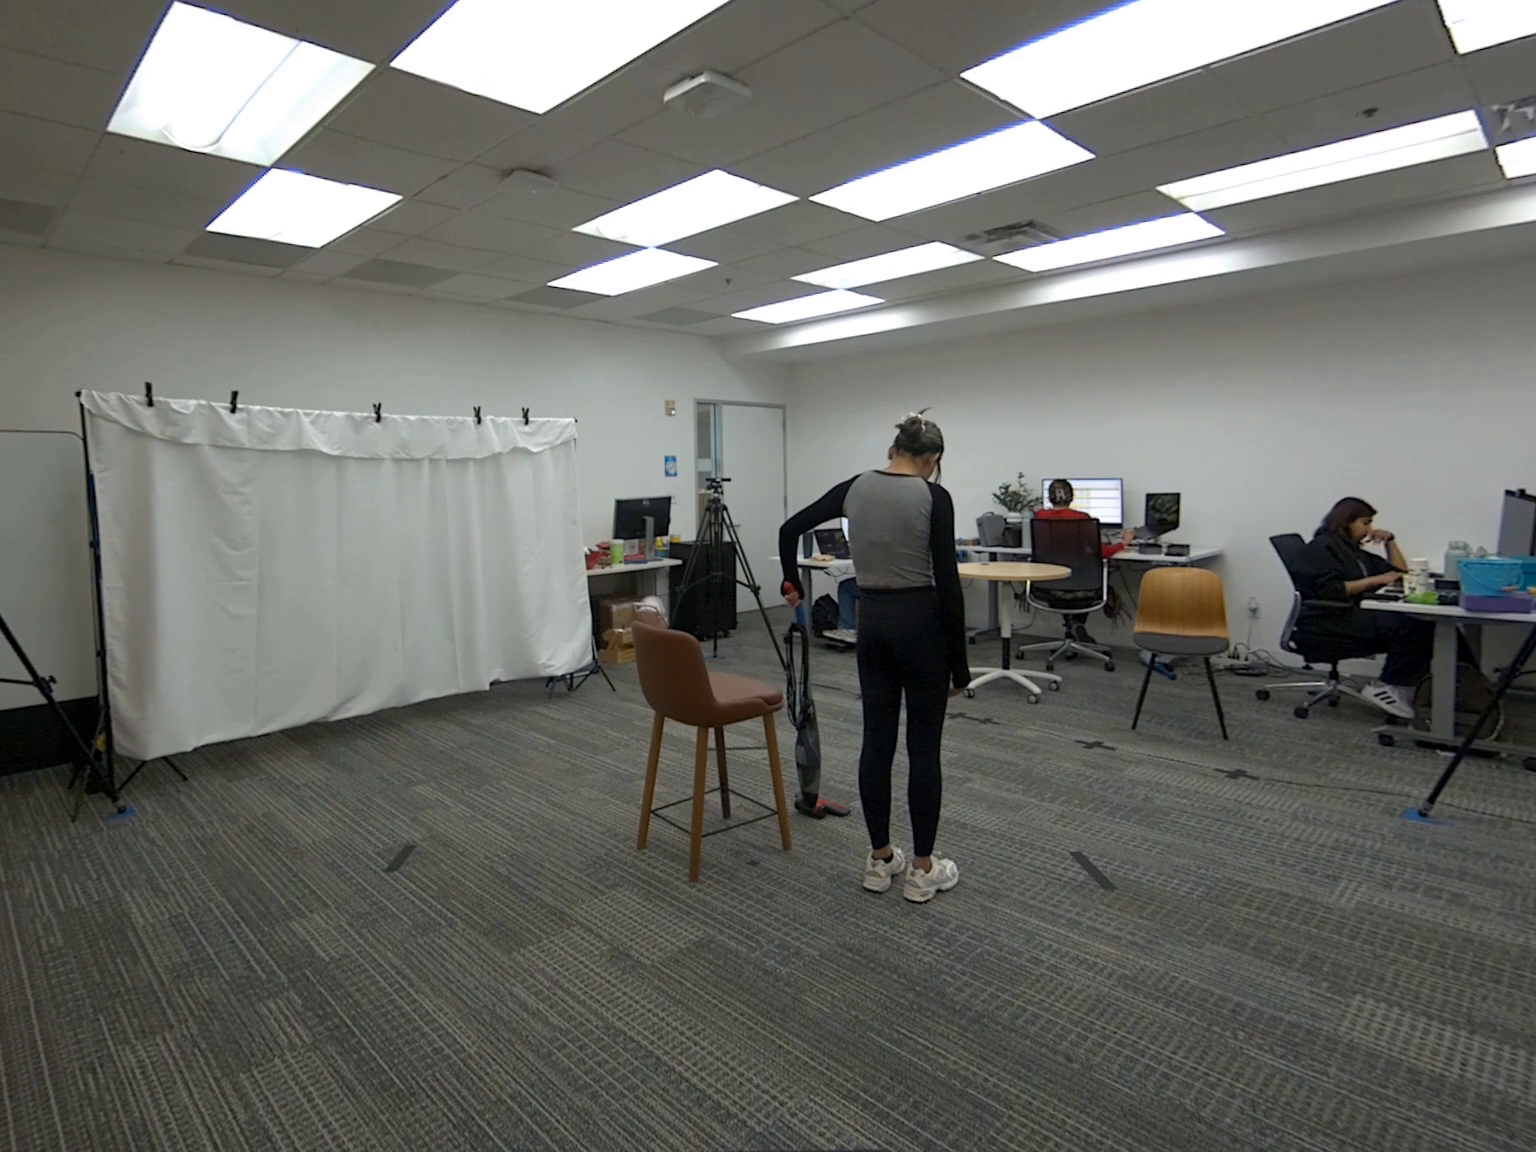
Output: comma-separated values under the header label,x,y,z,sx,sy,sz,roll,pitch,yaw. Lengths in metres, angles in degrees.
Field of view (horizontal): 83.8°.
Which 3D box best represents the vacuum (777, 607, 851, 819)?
label,x,y,z,sx,sy,sz,roll,pitch,yaw
vacuum,0.146,0.513,3.394,0.261,1.027,0.142,11,28,39
